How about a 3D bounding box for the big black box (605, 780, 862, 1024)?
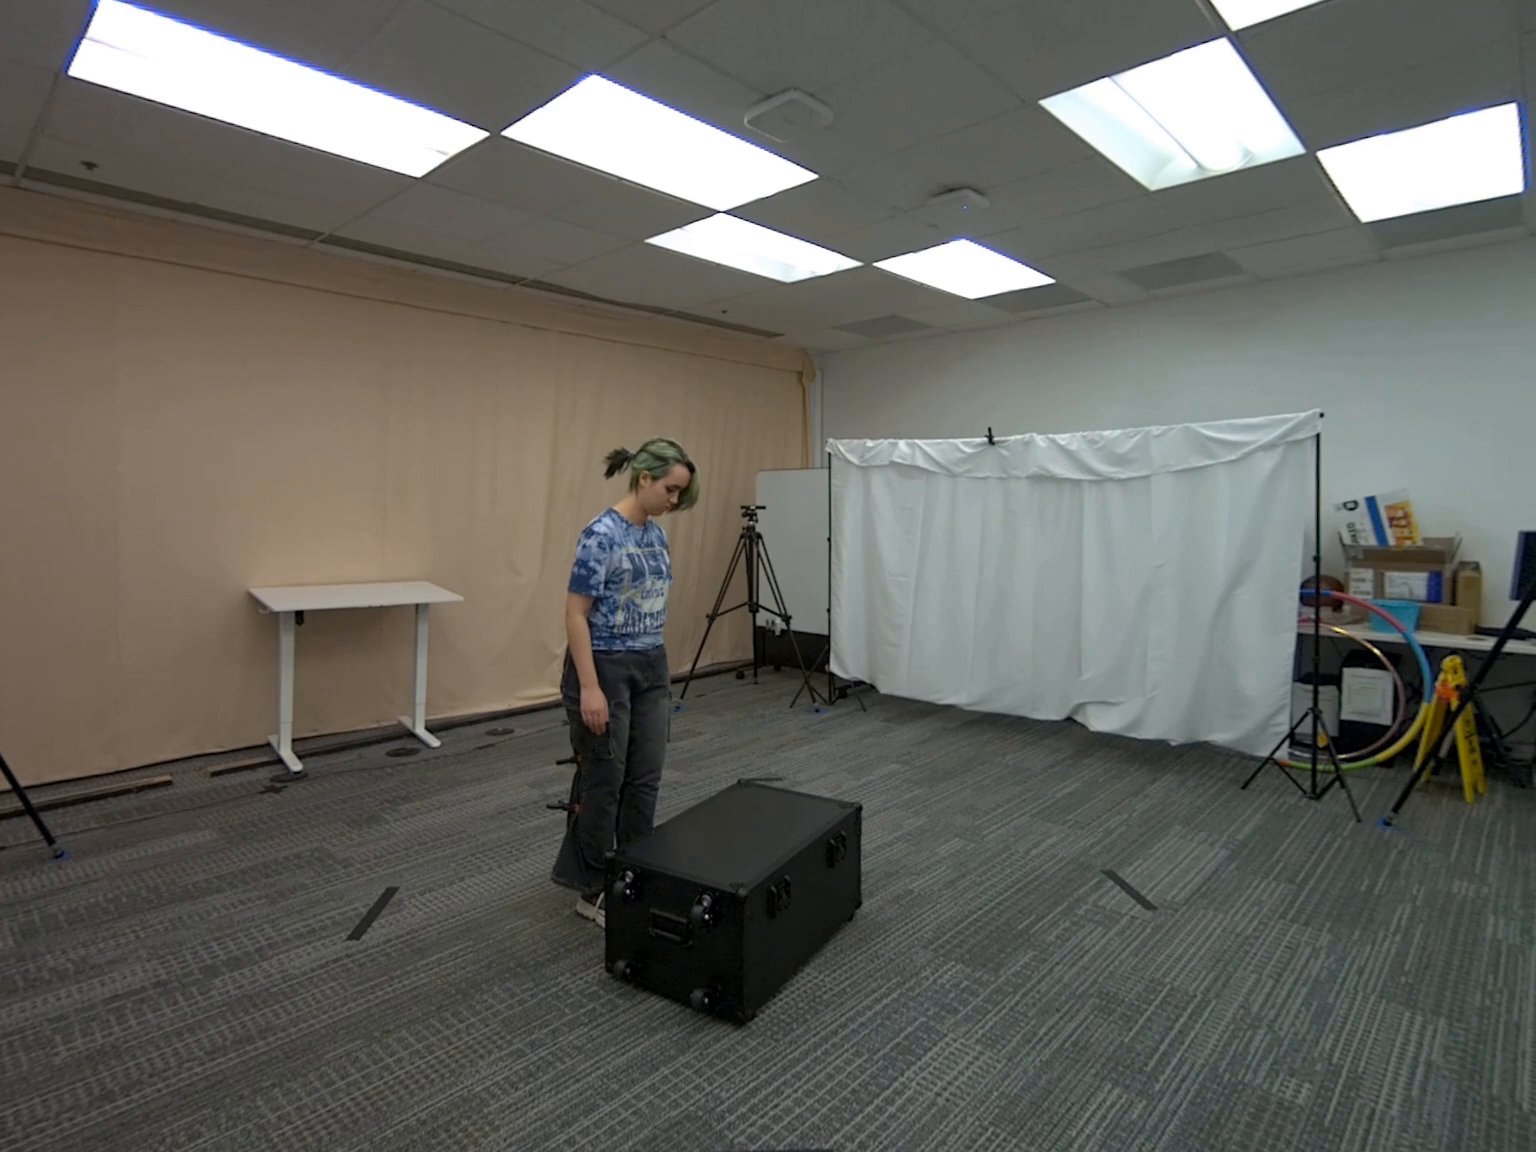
[{"bbox_3d":[-0.094,0.984,2.638,0.536,0.395,0.838,2,5,30],"label":"big black box"}]
